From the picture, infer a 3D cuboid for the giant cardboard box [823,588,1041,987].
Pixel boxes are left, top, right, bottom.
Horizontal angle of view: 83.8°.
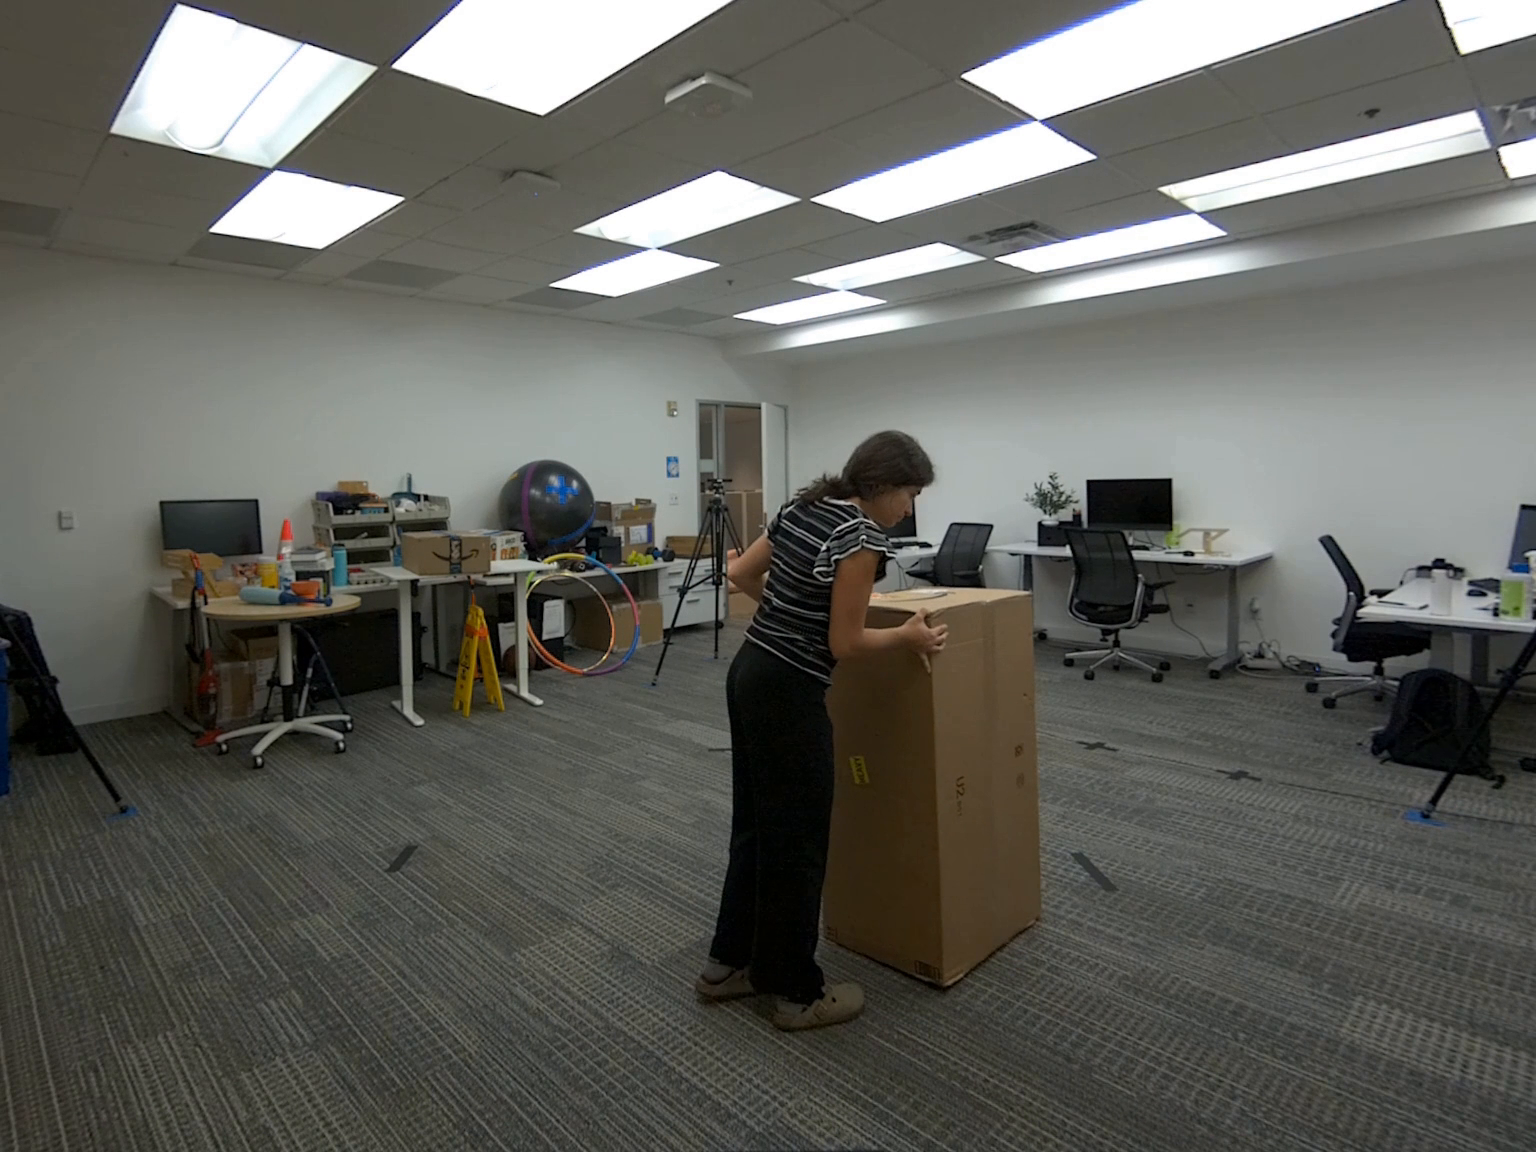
[{"bbox_3d":[0.499,0.580,2.634,0.562,1.024,0.438,-4,3,-44],"label":"giant cardboard box"}]
